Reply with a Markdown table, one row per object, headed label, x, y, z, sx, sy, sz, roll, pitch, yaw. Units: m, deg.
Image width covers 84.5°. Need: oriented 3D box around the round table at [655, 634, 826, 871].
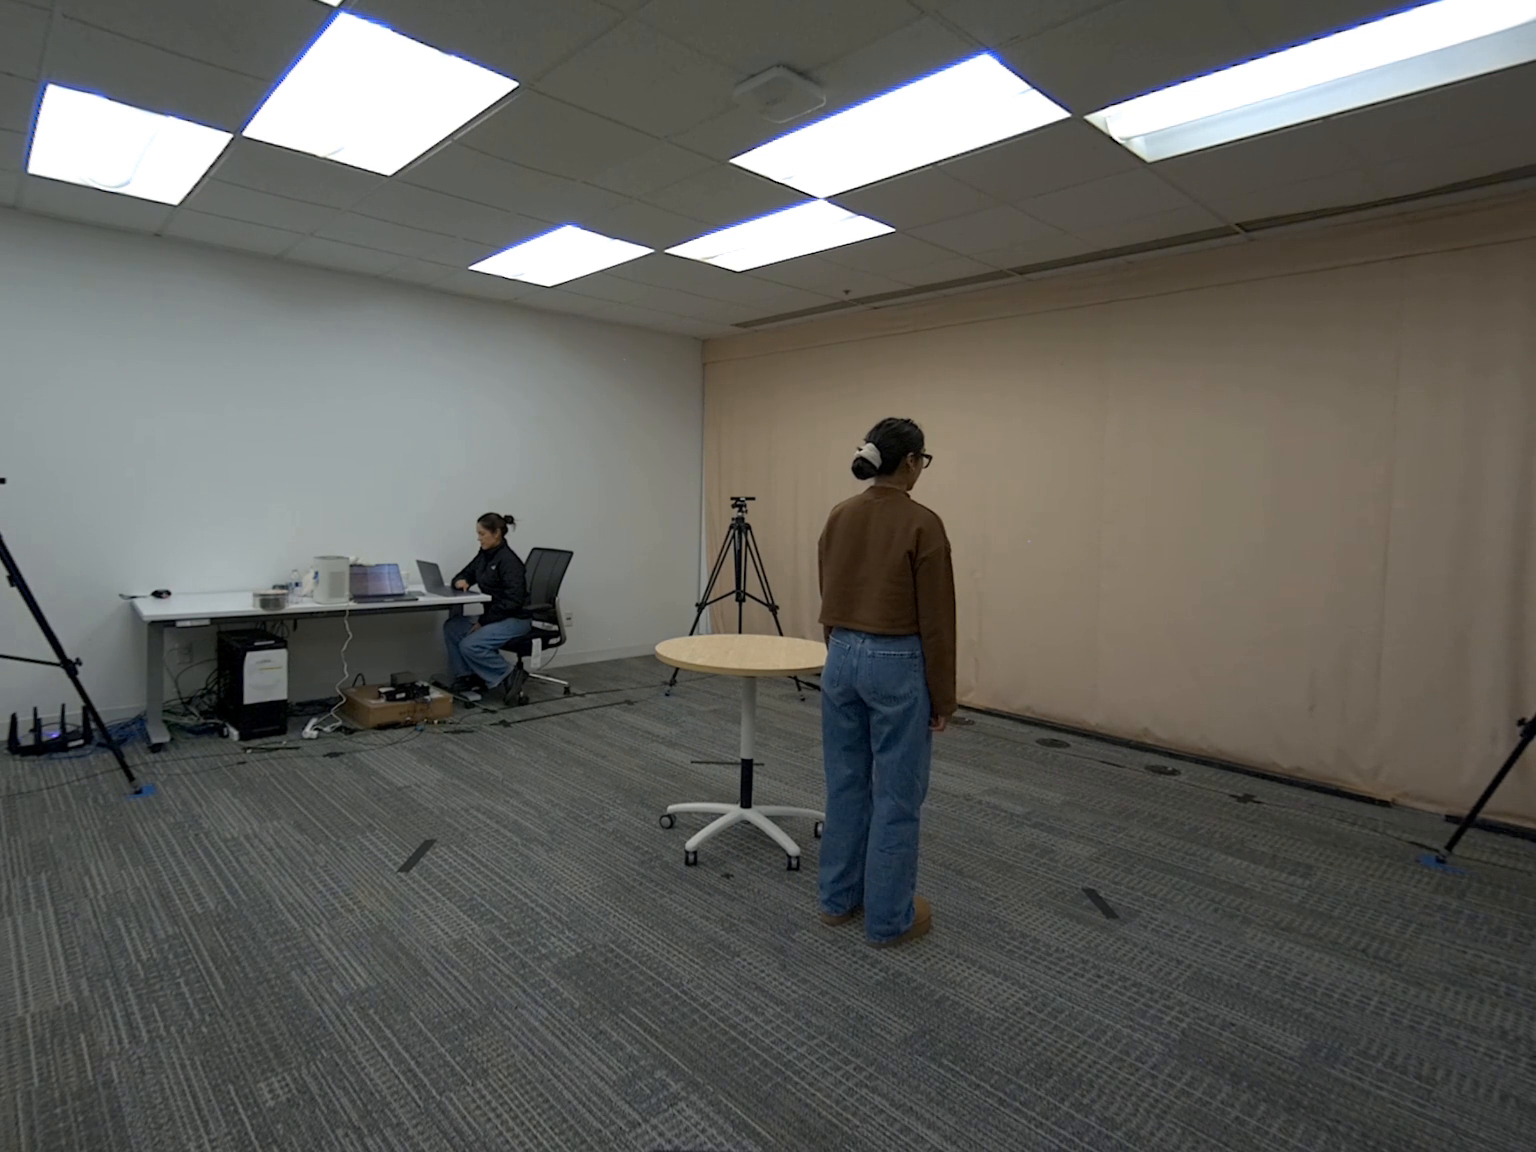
| label | x | y | z | sx | sy | sz | roll | pitch | yaw |
| --- | --- | --- | --- | --- | --- | --- | --- | --- | --- |
| round table | -0.090 | 0.691 | 3.412 | 0.763 | 0.792 | 0.766 | 2 | 4 | -1 |
